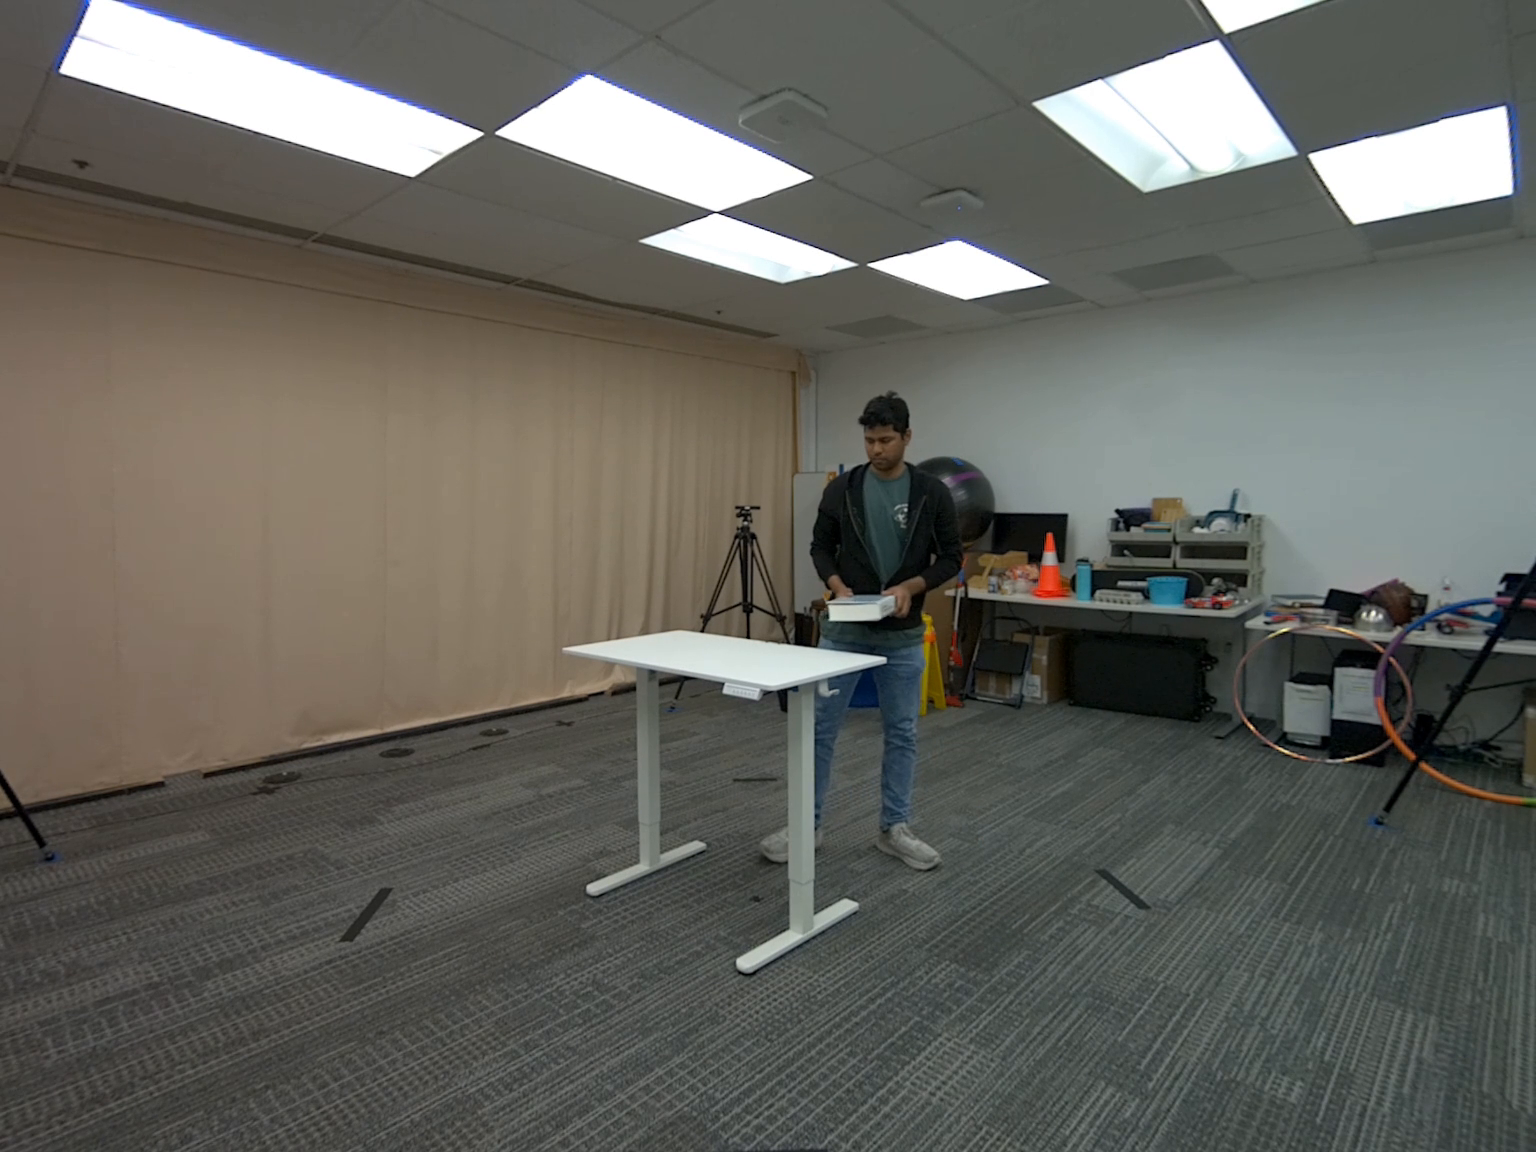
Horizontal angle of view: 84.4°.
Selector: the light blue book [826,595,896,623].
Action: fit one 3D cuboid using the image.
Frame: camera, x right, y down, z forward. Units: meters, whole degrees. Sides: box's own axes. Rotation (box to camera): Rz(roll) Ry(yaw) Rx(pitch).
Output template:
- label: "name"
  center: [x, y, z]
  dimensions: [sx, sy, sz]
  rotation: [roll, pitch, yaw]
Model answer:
- label: "light blue book"
  center: [0.335, 0.115, 3.004]
  dimensions: [0.195, 0.059, 0.256]
  rotation: [-2, 4, 18]
